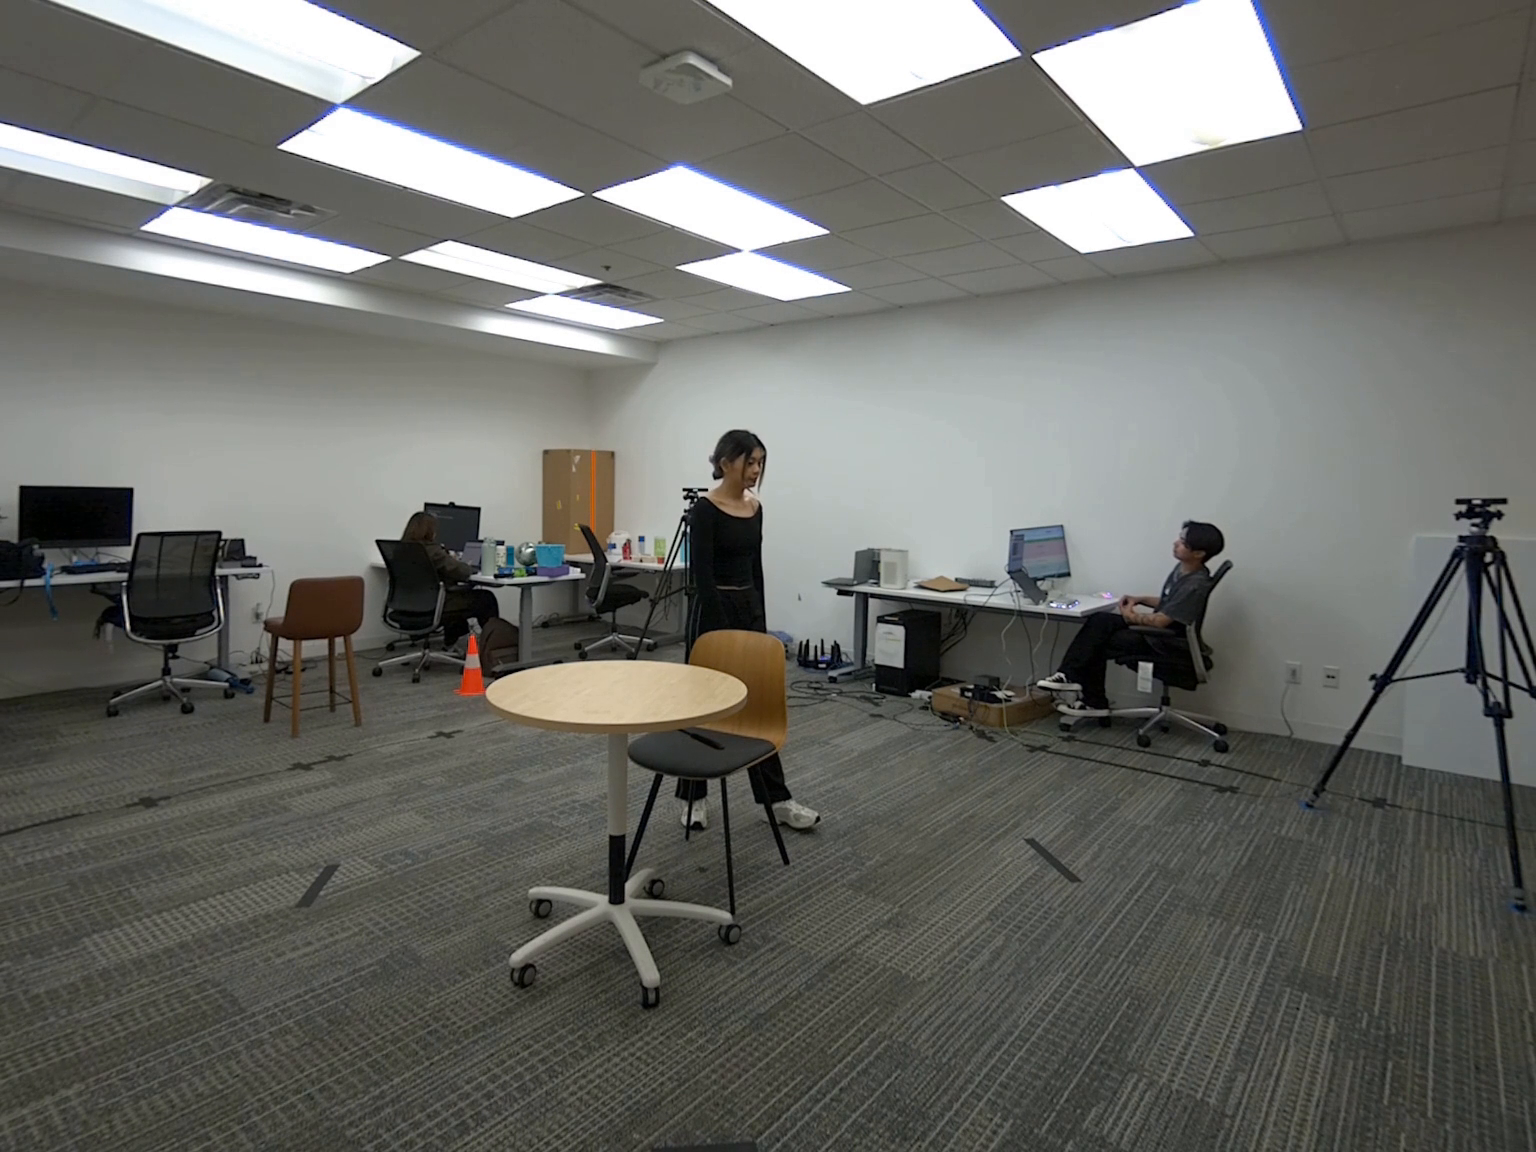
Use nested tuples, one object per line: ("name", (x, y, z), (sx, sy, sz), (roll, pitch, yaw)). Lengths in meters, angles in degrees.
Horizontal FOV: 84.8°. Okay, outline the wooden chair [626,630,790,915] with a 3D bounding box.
("wooden chair", (-0.216, 0.647, 3.045), (0.491, 0.878, 0.508), (3, -1, 28))
